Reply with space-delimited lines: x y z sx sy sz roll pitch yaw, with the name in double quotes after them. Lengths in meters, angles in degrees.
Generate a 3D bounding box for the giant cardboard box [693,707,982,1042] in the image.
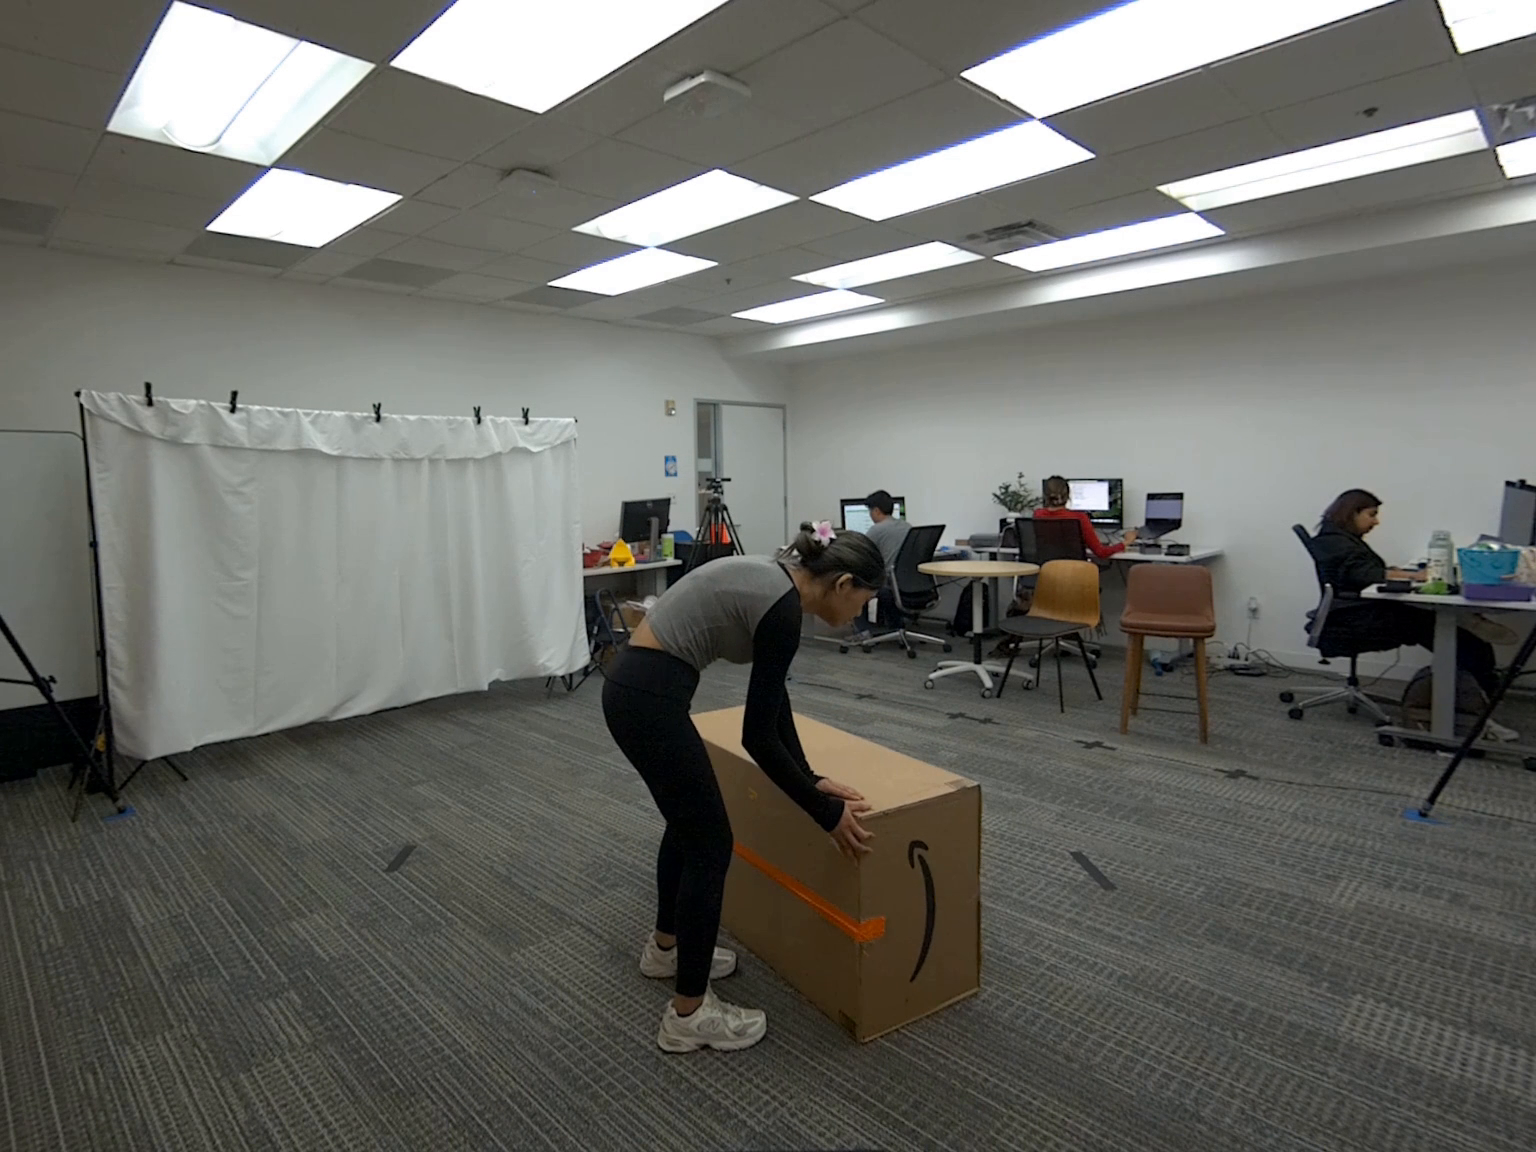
0.116 0.809 2.631 0.436 0.581 1.057 -5 7 -33 "giant cardboard box"
